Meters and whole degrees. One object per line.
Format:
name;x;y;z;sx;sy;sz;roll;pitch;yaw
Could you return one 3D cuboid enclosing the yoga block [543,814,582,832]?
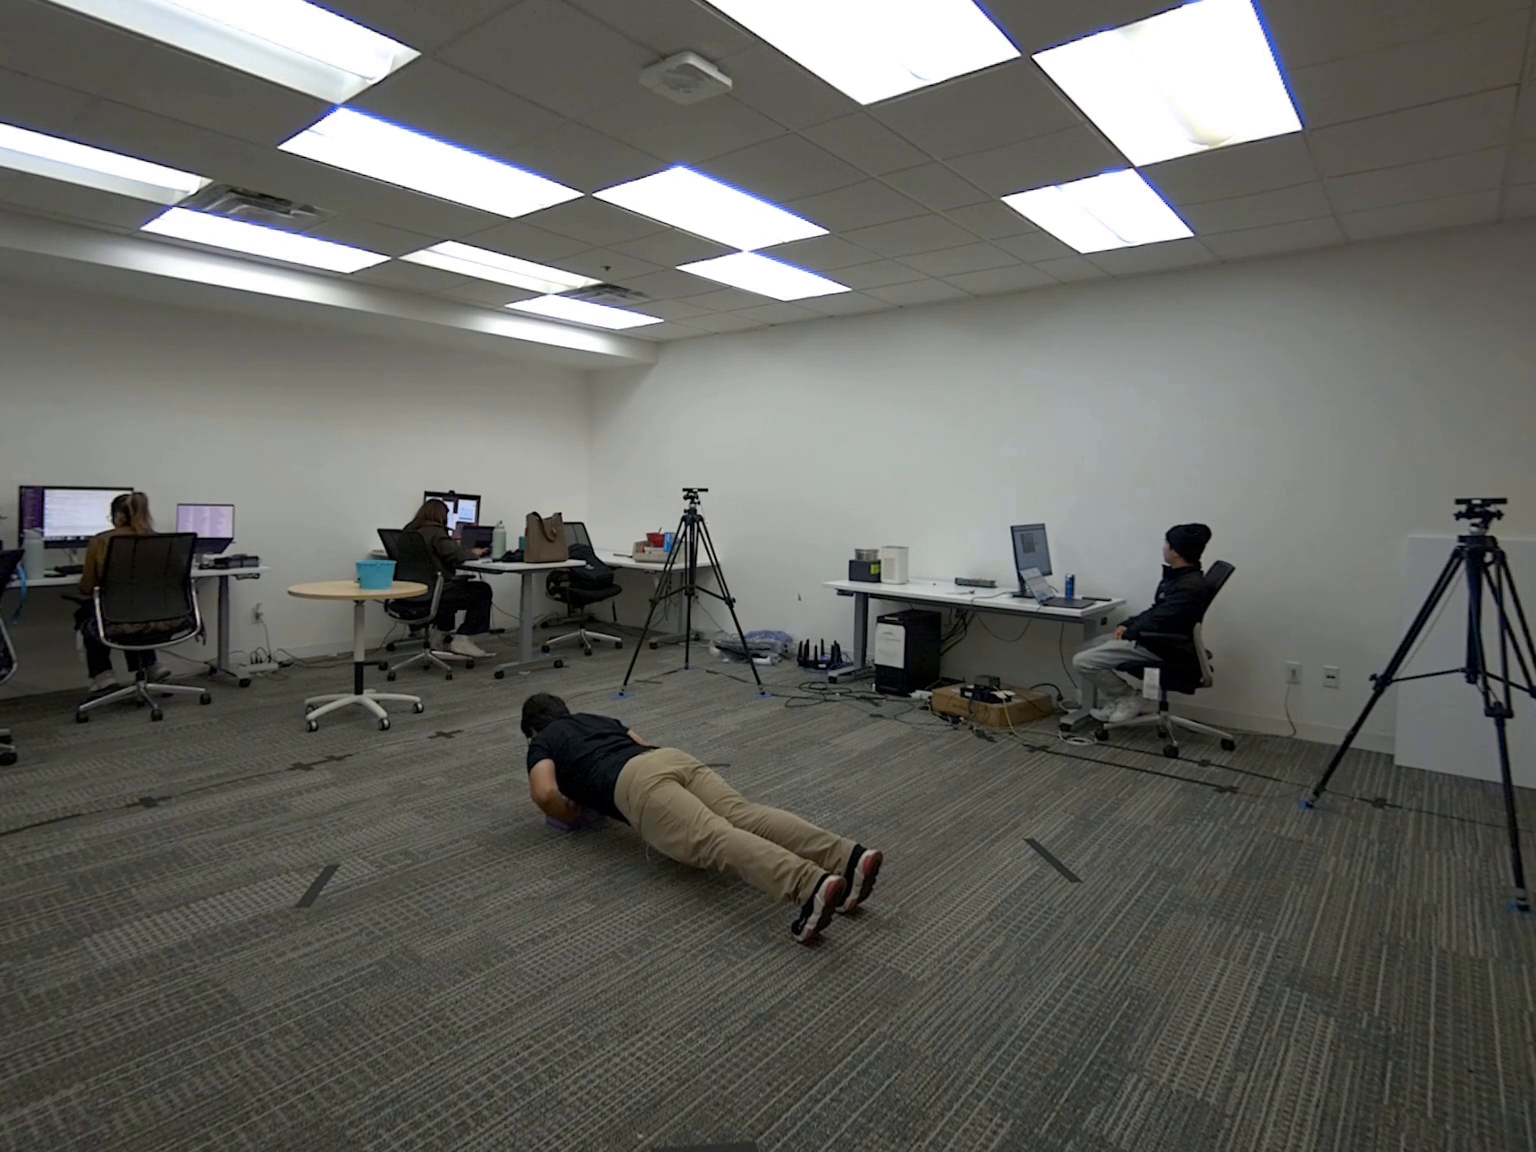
yoga block;-0.806;0.976;3.563;0.154;0.076;0.222;6;5;39
